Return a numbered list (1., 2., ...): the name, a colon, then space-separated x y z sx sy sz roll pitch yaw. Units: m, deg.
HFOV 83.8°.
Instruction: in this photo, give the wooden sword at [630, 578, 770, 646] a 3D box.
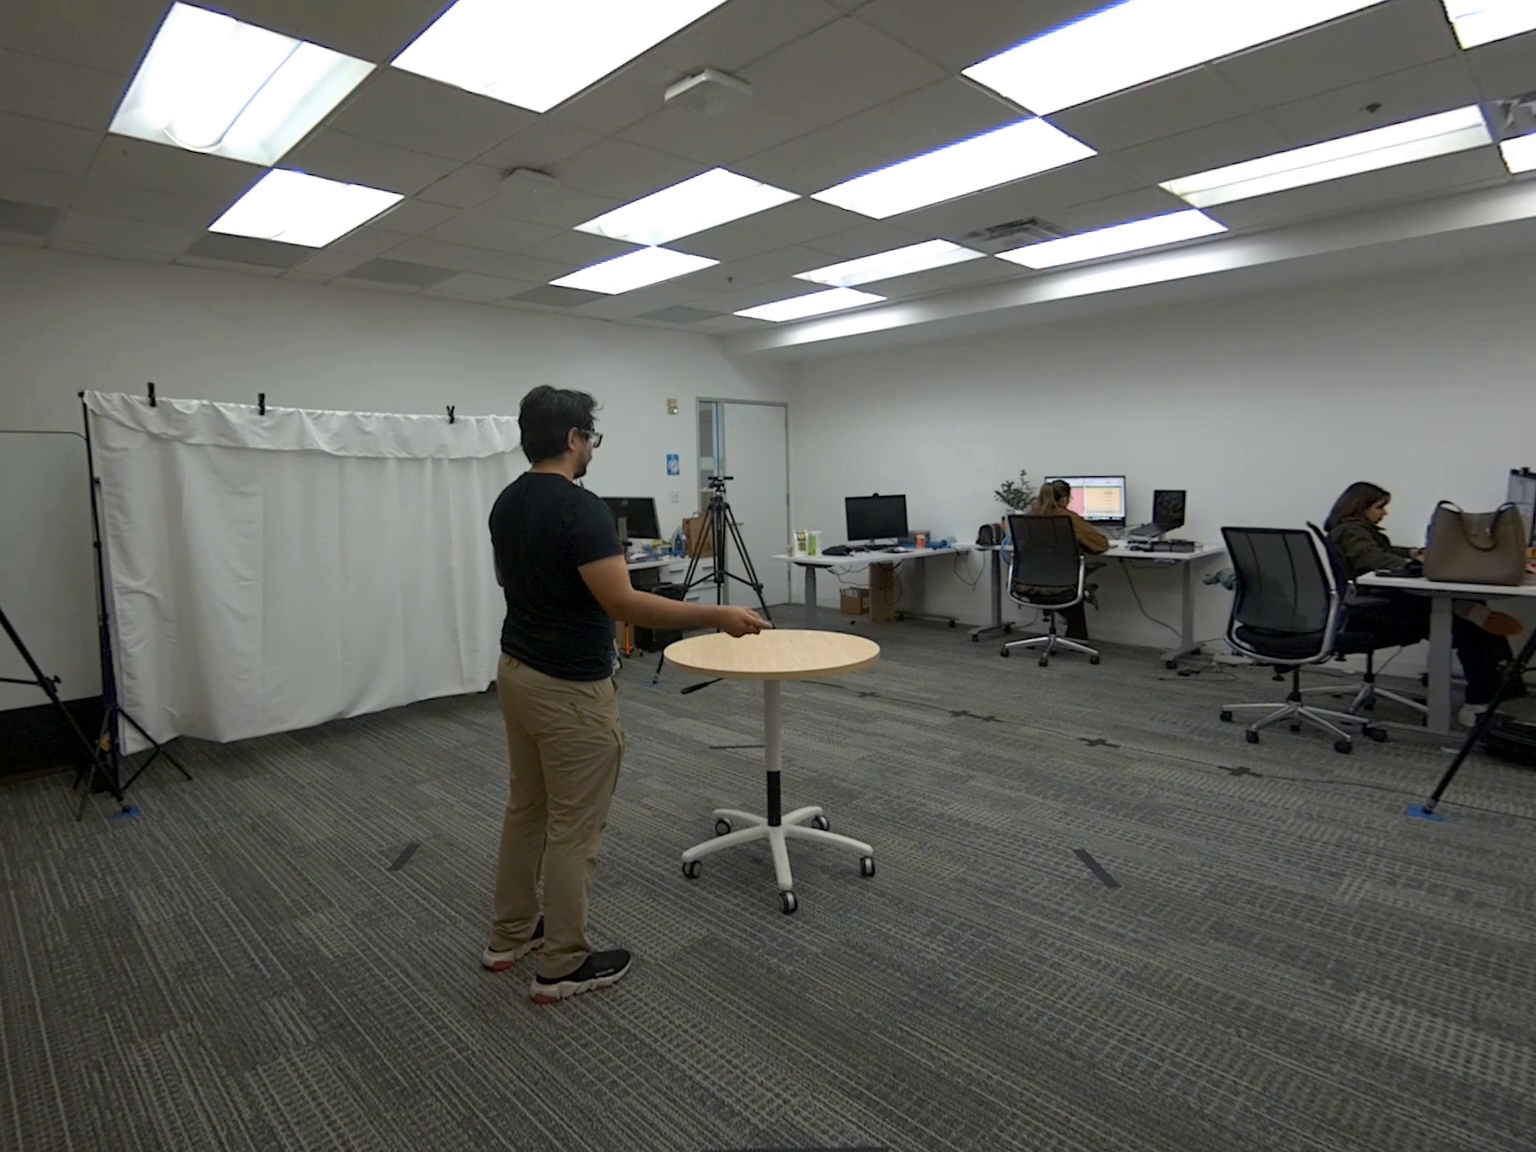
1. wooden sword: -0.301 0.074 2.592 0.023 0.050 1.057 -16 17 -31
